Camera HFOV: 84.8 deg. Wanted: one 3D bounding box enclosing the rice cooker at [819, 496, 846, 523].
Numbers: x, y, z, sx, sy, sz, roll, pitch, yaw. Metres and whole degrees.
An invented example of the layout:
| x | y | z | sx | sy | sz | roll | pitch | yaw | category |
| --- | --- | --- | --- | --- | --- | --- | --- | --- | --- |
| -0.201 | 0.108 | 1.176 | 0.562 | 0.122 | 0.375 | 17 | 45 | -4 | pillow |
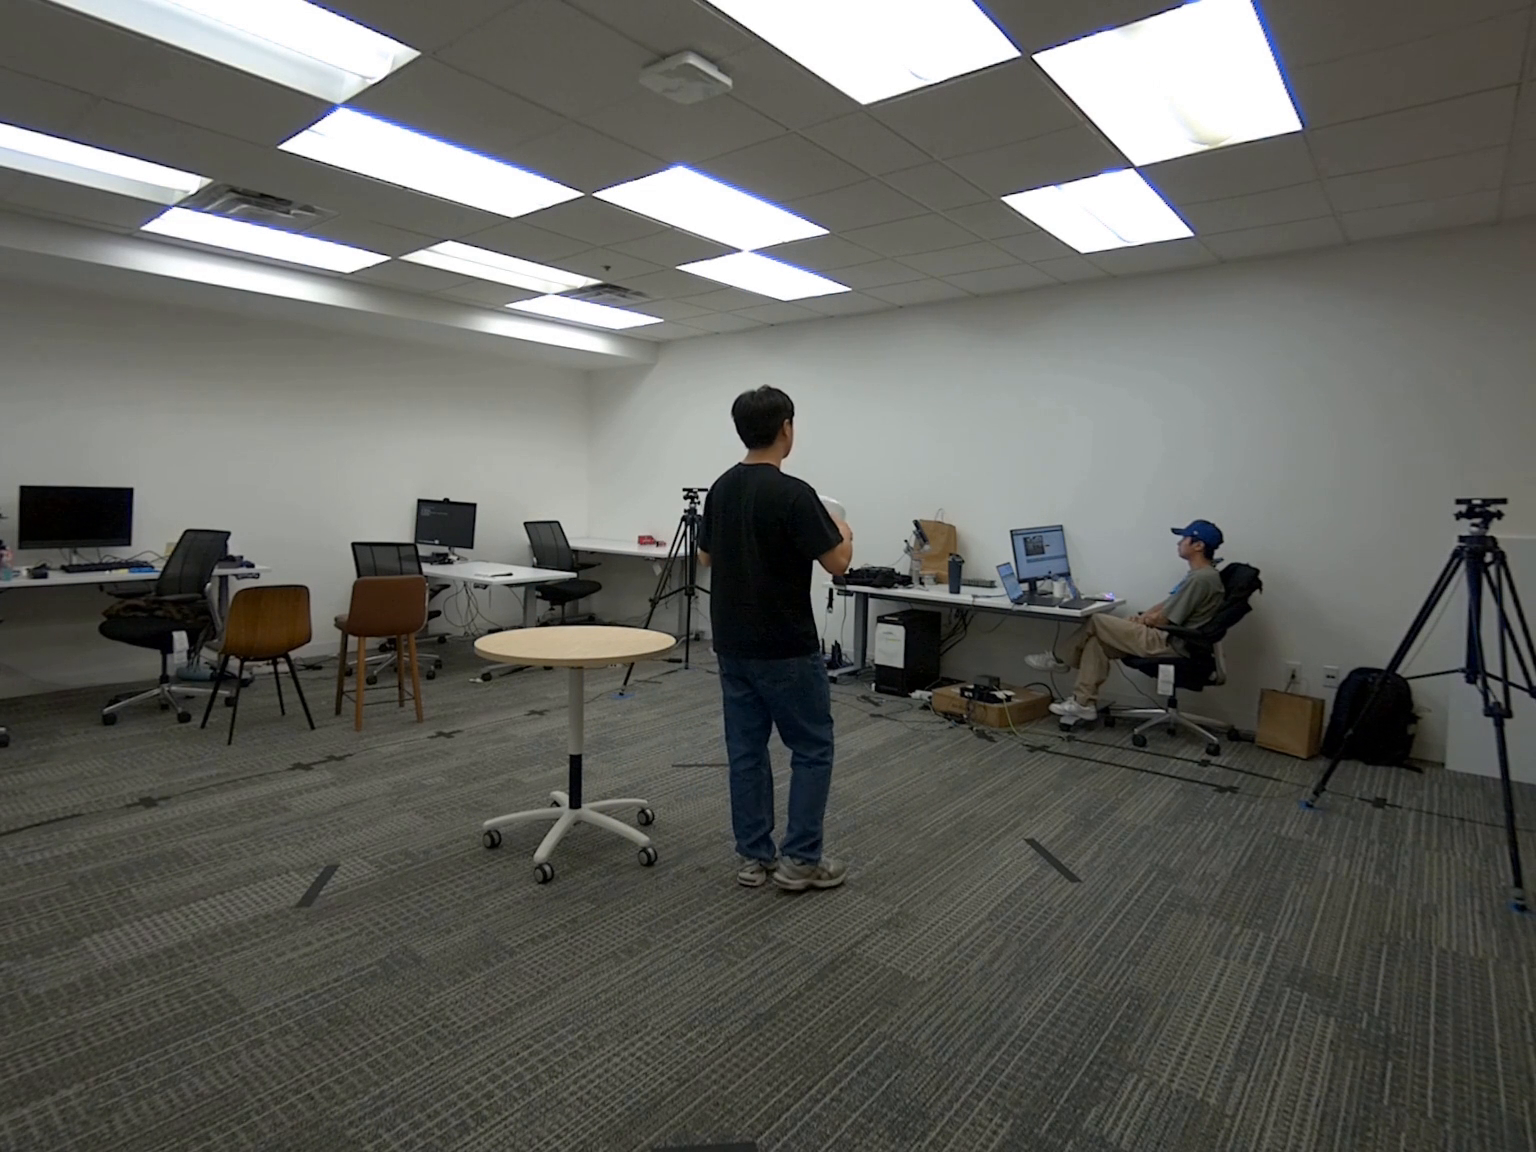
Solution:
| x | y | z | sx | sy | sz | roll | pitch | yaw | category |
| --- | --- | --- | --- | --- | --- | --- | --- | --- | --- |
| 0.164 | -0.172 | 3.217 | 0.227 | 0.236 | 0.208 | -5 | -21 | 40 | rice cooker |
